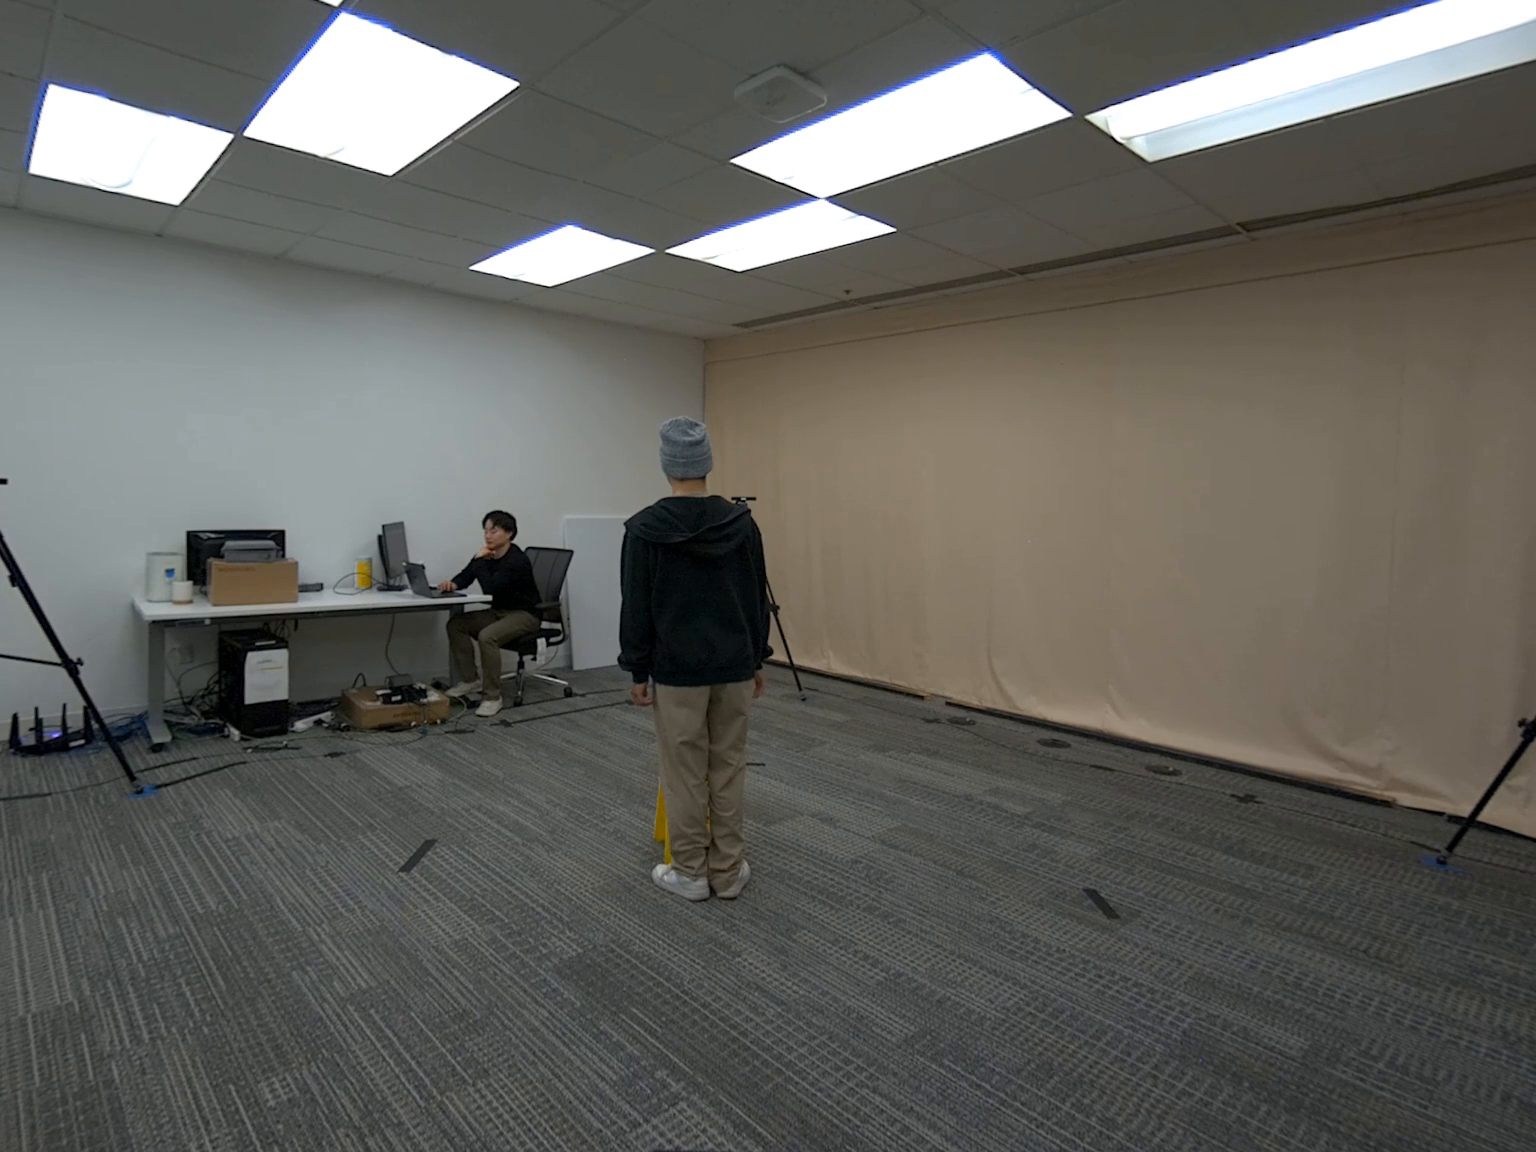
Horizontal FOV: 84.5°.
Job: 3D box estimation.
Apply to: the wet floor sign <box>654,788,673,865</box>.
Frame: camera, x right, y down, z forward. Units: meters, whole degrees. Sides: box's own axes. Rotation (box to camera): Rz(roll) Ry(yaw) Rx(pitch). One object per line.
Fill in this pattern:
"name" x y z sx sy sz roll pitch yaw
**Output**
"wet floor sign" -0.292 0.760 3.312 0.279 0.645 0.293 2 1 -15
